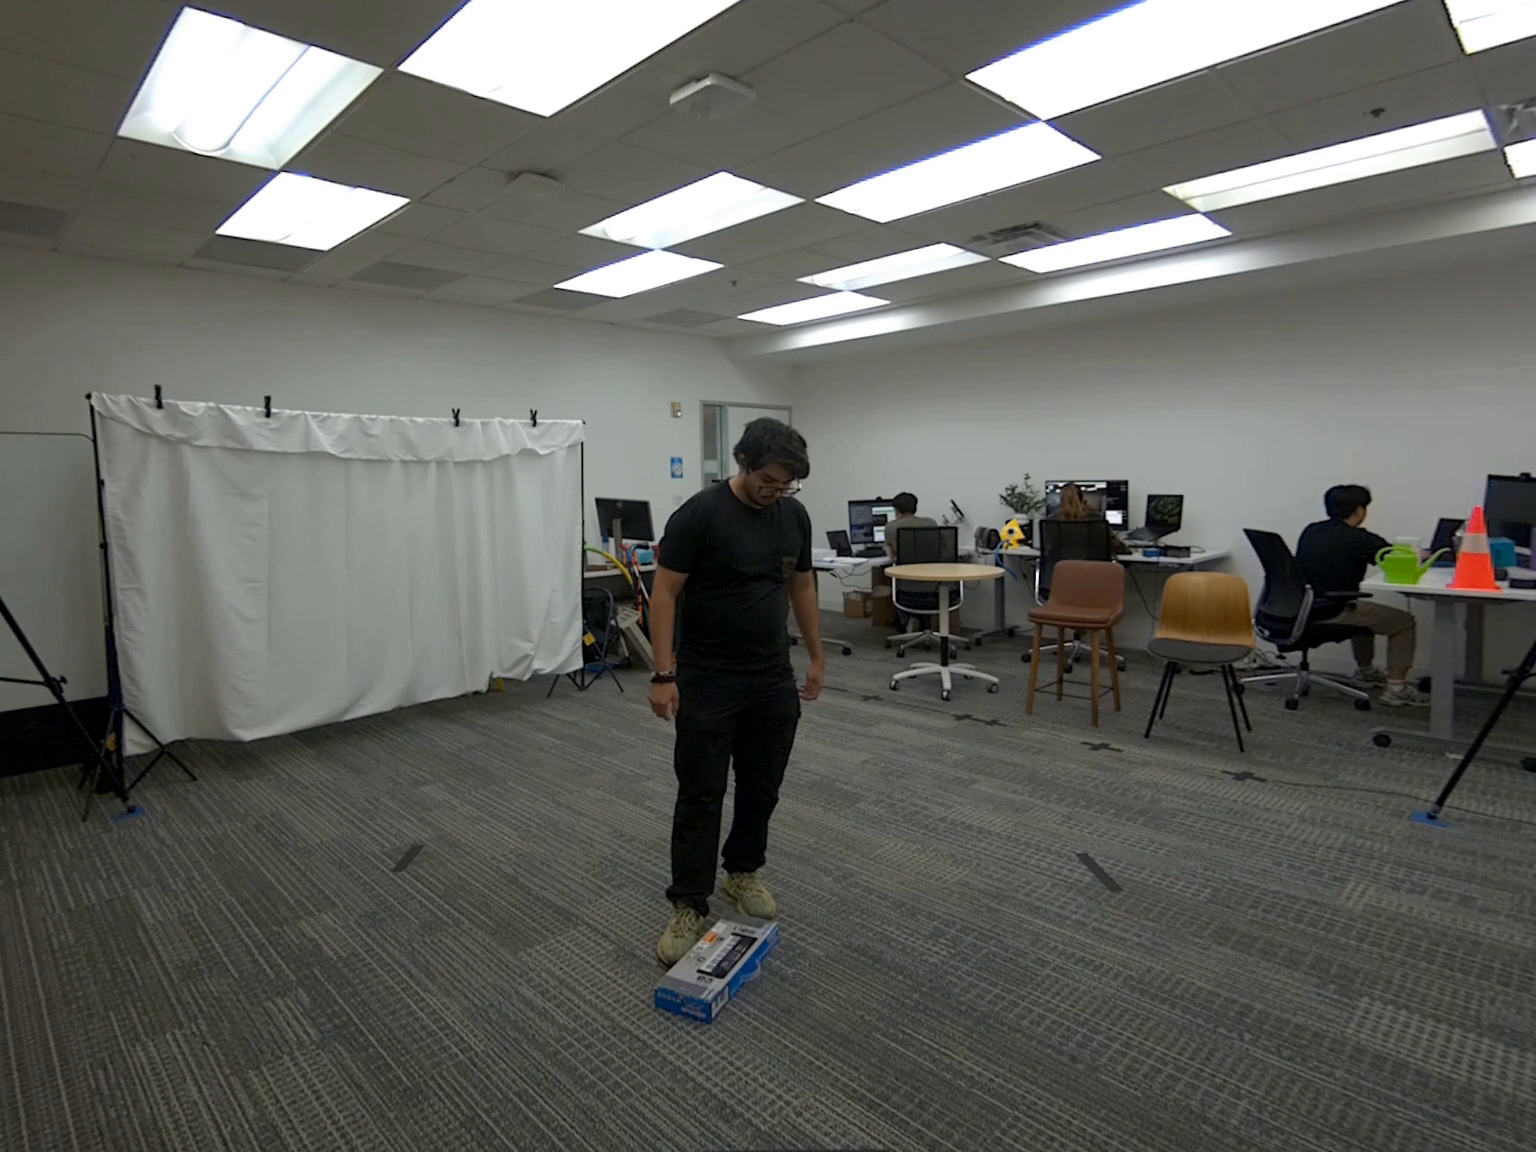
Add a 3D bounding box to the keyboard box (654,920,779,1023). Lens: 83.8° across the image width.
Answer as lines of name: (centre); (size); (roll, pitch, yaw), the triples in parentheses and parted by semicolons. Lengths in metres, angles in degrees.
keyboard box: (-0.134, 1.103, 2.430); (0.180, 0.059, 0.429); (1, 7, 26)
